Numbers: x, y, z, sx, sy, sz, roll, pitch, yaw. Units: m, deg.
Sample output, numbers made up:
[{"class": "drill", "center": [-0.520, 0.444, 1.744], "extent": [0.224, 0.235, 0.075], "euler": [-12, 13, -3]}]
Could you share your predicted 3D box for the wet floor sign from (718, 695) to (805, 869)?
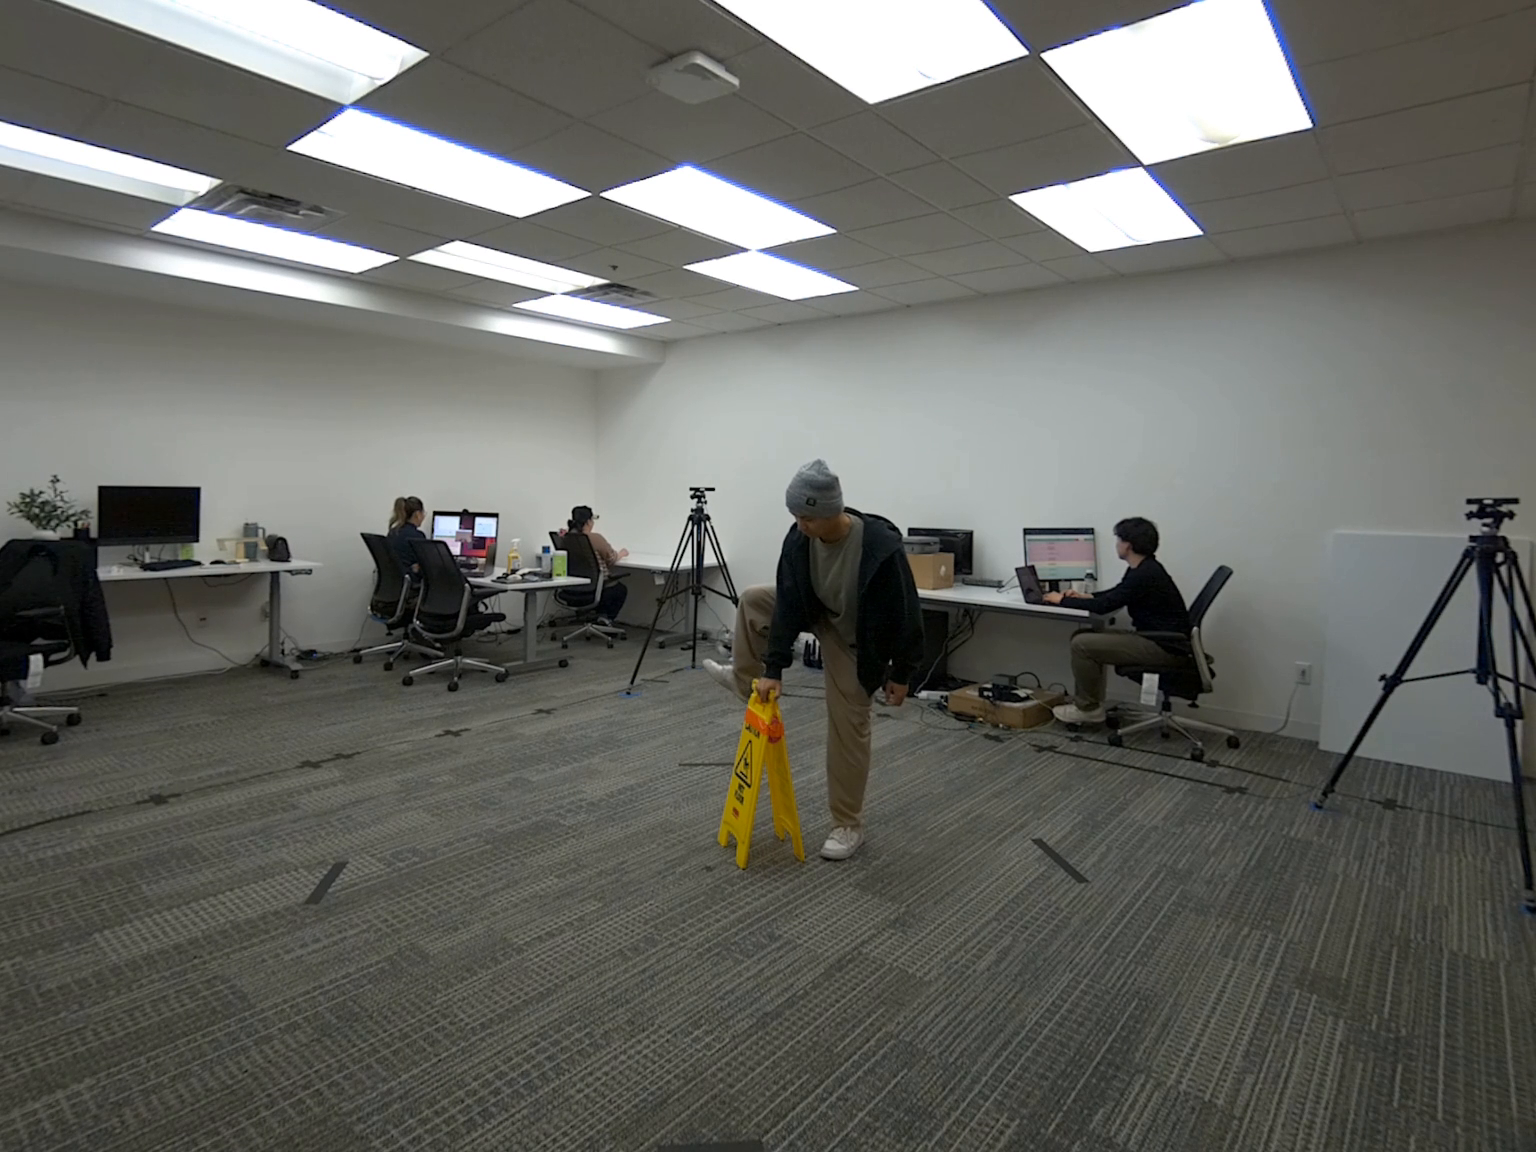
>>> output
[{"class": "wet floor sign", "center": [-0.027, 0.729, 3.260], "extent": [0.284, 0.644, 0.288], "euler": [0, 4, -19]}]
